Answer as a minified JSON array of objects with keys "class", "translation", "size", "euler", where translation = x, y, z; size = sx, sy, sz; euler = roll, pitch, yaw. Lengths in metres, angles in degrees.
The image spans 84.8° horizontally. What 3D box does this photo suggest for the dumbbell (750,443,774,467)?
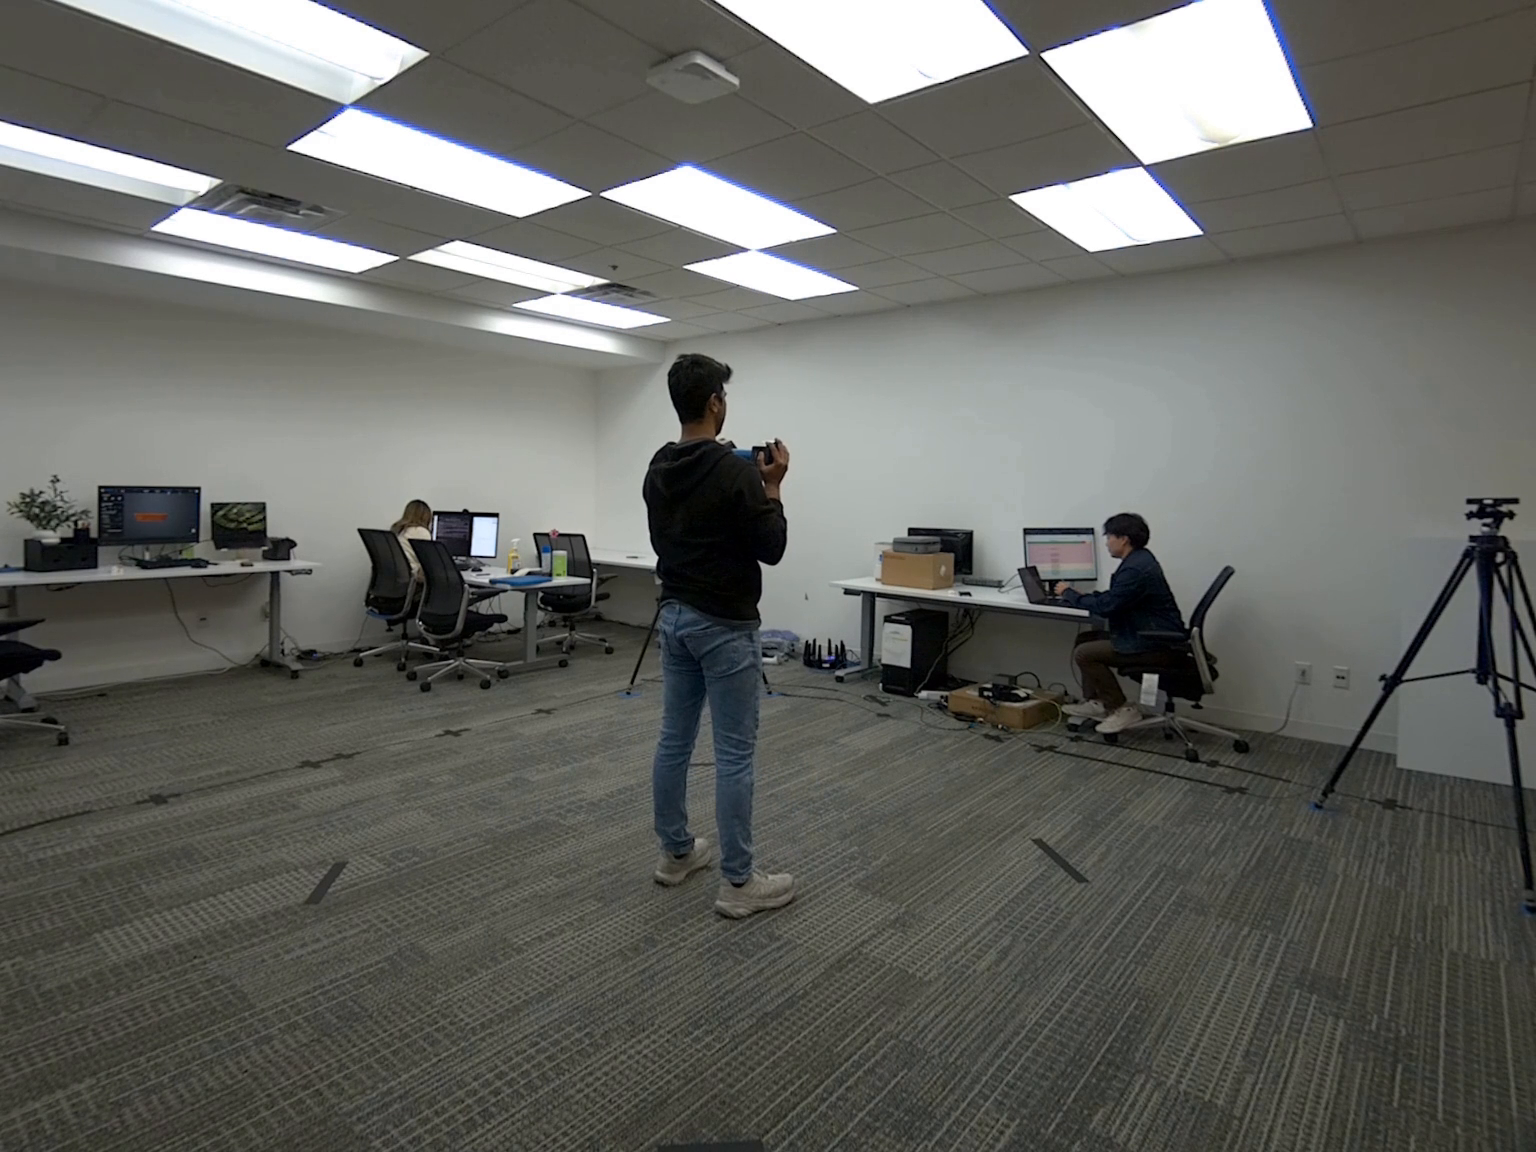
[{"class":"dumbbell","translation":[-0.096,-0.424,3.028],"size":[0.304,0.123,0.105],"euler":[9,1,41]}]
